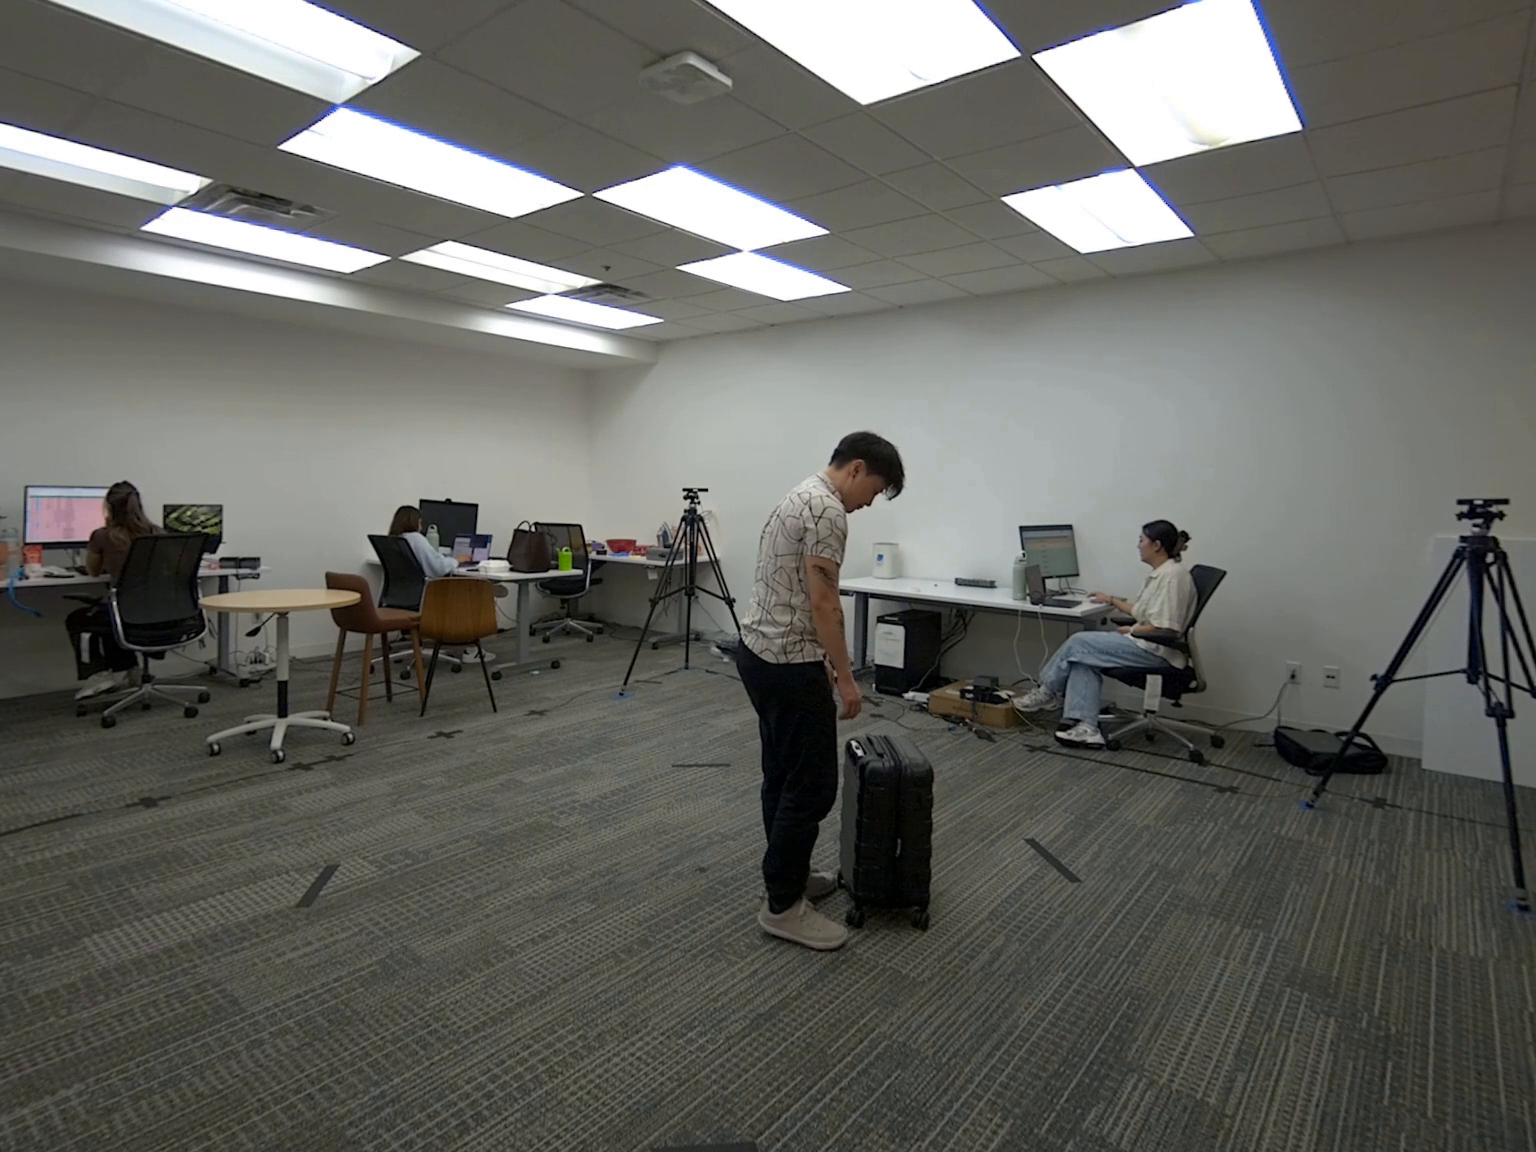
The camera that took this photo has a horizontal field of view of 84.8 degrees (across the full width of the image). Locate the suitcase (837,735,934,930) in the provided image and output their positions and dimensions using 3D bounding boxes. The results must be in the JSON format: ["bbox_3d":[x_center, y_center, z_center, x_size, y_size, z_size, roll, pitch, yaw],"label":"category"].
[{"bbox_3d":[0.390,0.831,2.878,0.248,0.548,0.377,1,3,-3],"label":"suitcase"}]
